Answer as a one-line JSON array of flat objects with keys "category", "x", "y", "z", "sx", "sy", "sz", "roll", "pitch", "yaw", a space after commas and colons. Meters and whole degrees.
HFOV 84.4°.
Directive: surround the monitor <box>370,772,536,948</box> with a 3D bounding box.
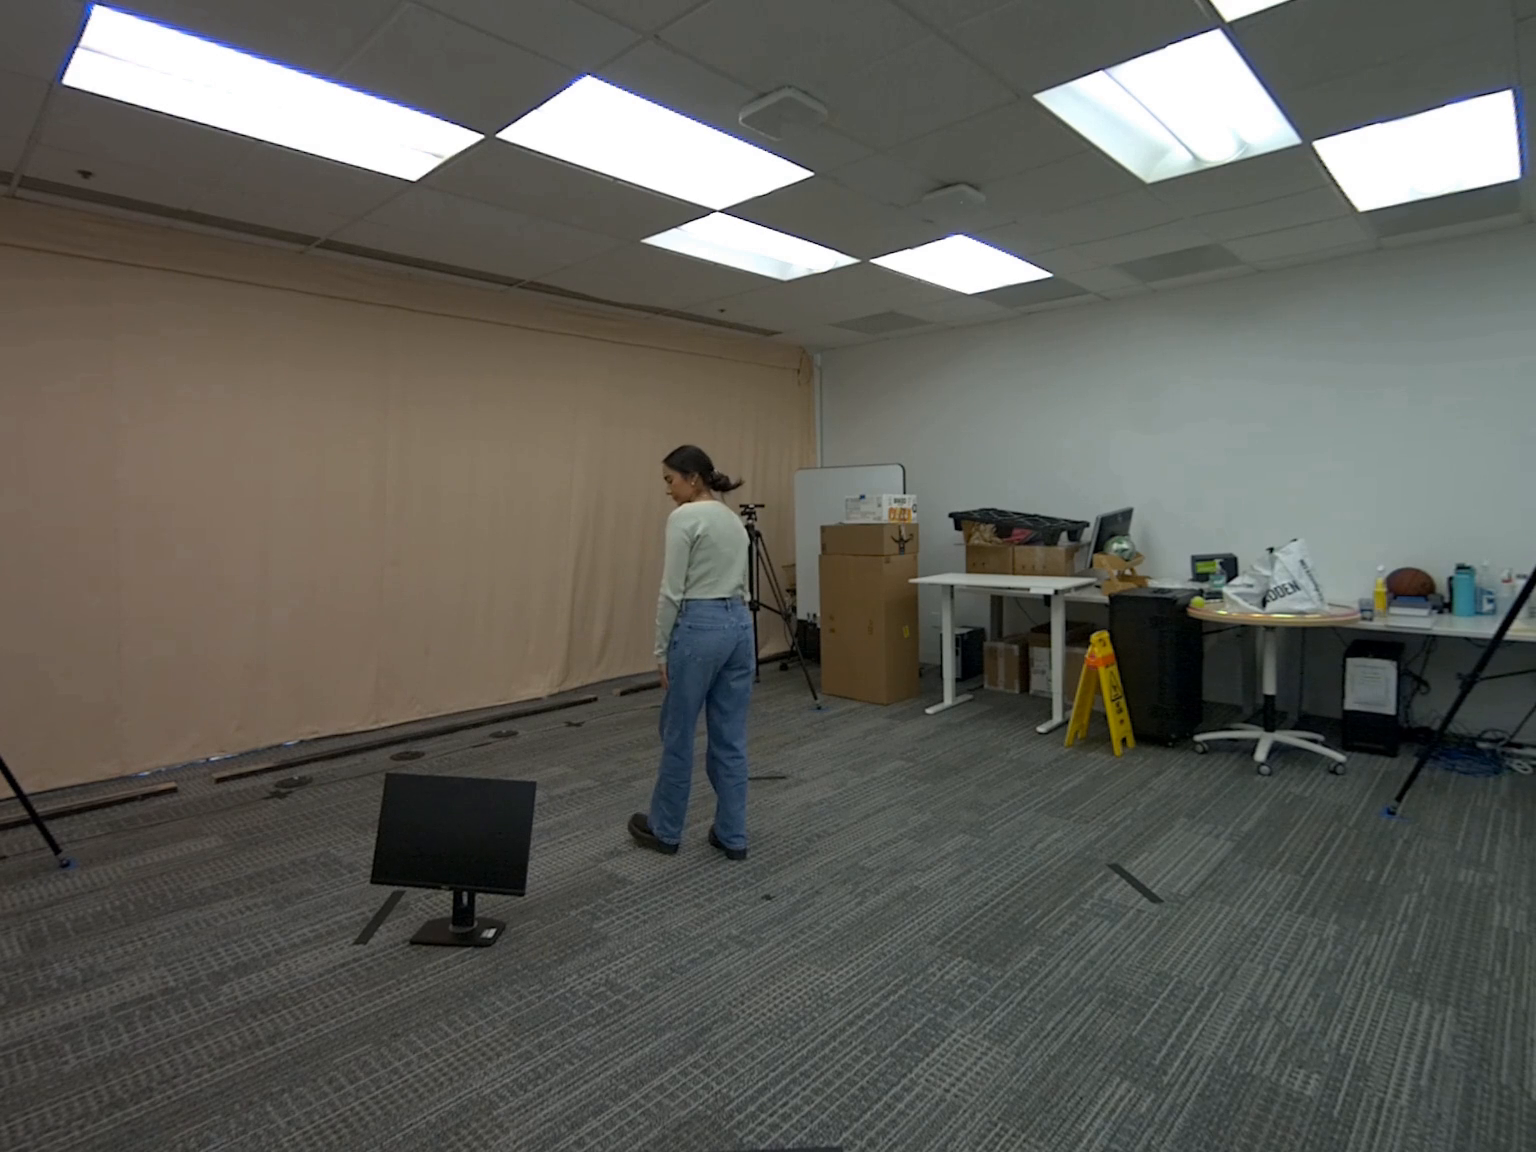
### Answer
[{"category": "monitor", "x": -1.029, "y": 0.920, "z": 2.770, "sx": 0.535, "sy": 0.515, "sz": 0.173, "roll": 1, "pitch": 4, "yaw": 8}]
